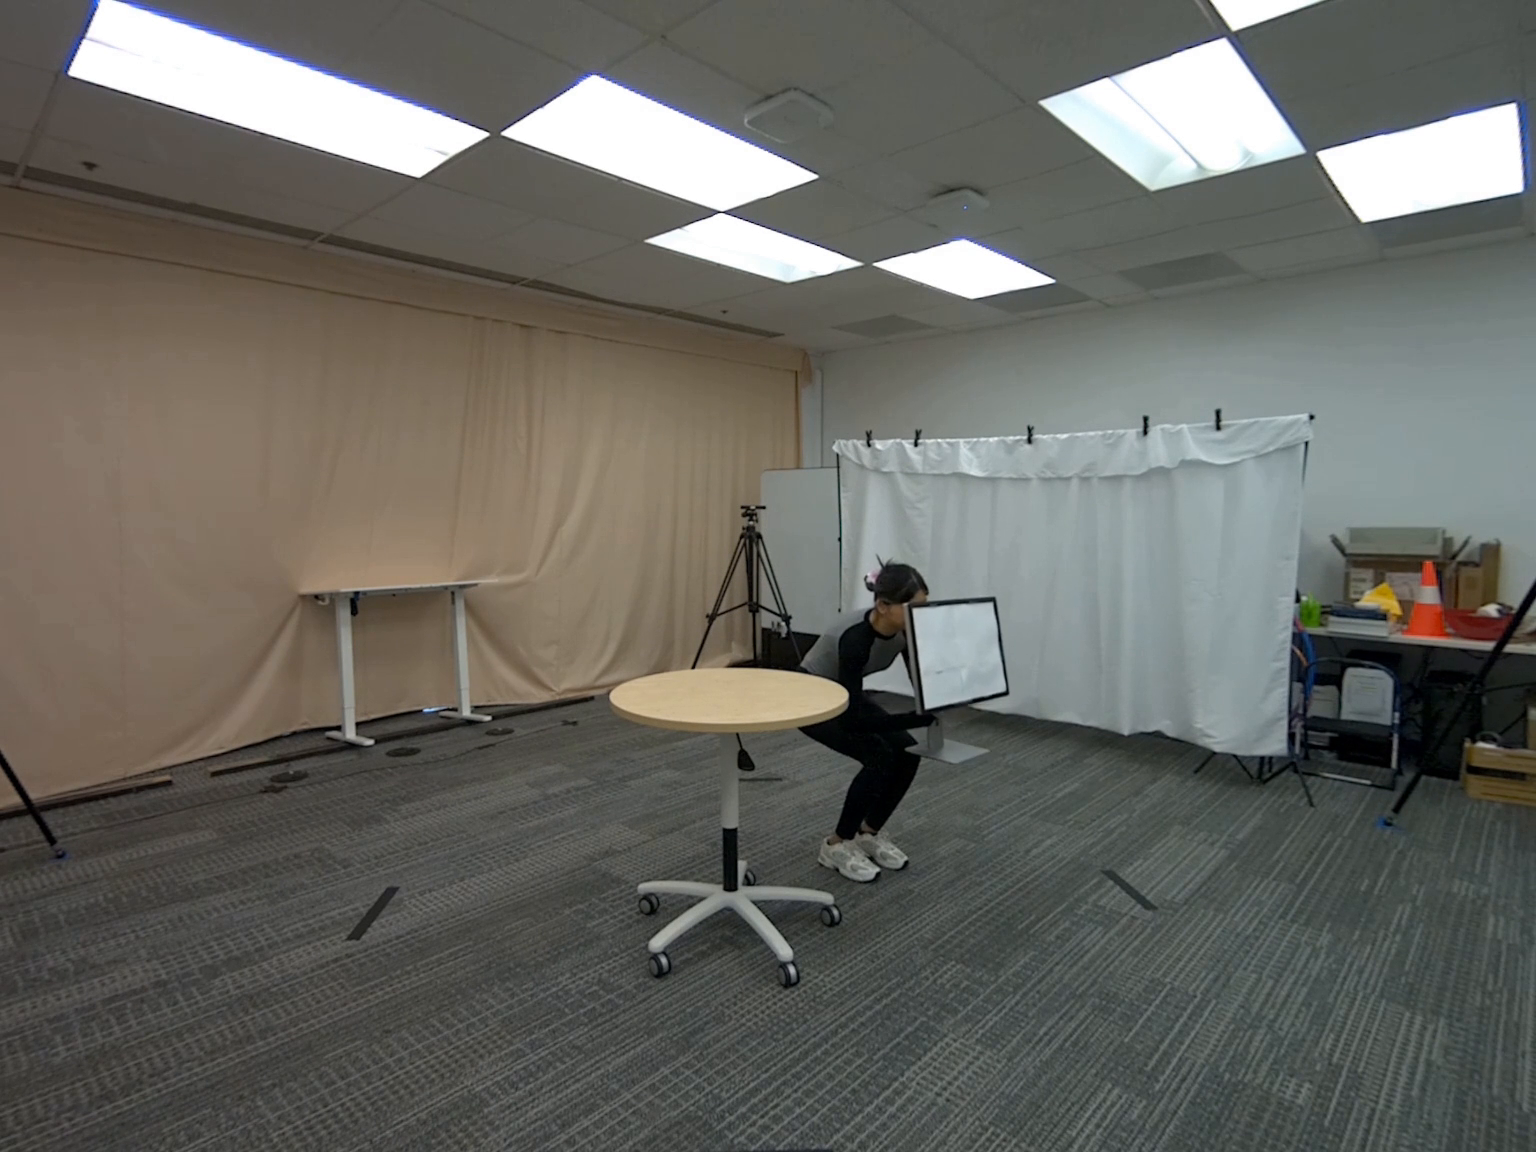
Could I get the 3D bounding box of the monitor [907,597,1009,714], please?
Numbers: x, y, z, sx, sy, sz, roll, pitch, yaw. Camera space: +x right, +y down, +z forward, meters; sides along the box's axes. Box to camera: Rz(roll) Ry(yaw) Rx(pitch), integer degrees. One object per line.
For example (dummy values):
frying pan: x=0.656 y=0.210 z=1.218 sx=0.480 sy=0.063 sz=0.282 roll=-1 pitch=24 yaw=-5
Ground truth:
monitor: x=0.642 y=0.356 z=2.950 sx=0.193 sy=0.521 sz=0.522 roll=7 pitch=5 yaw=44
